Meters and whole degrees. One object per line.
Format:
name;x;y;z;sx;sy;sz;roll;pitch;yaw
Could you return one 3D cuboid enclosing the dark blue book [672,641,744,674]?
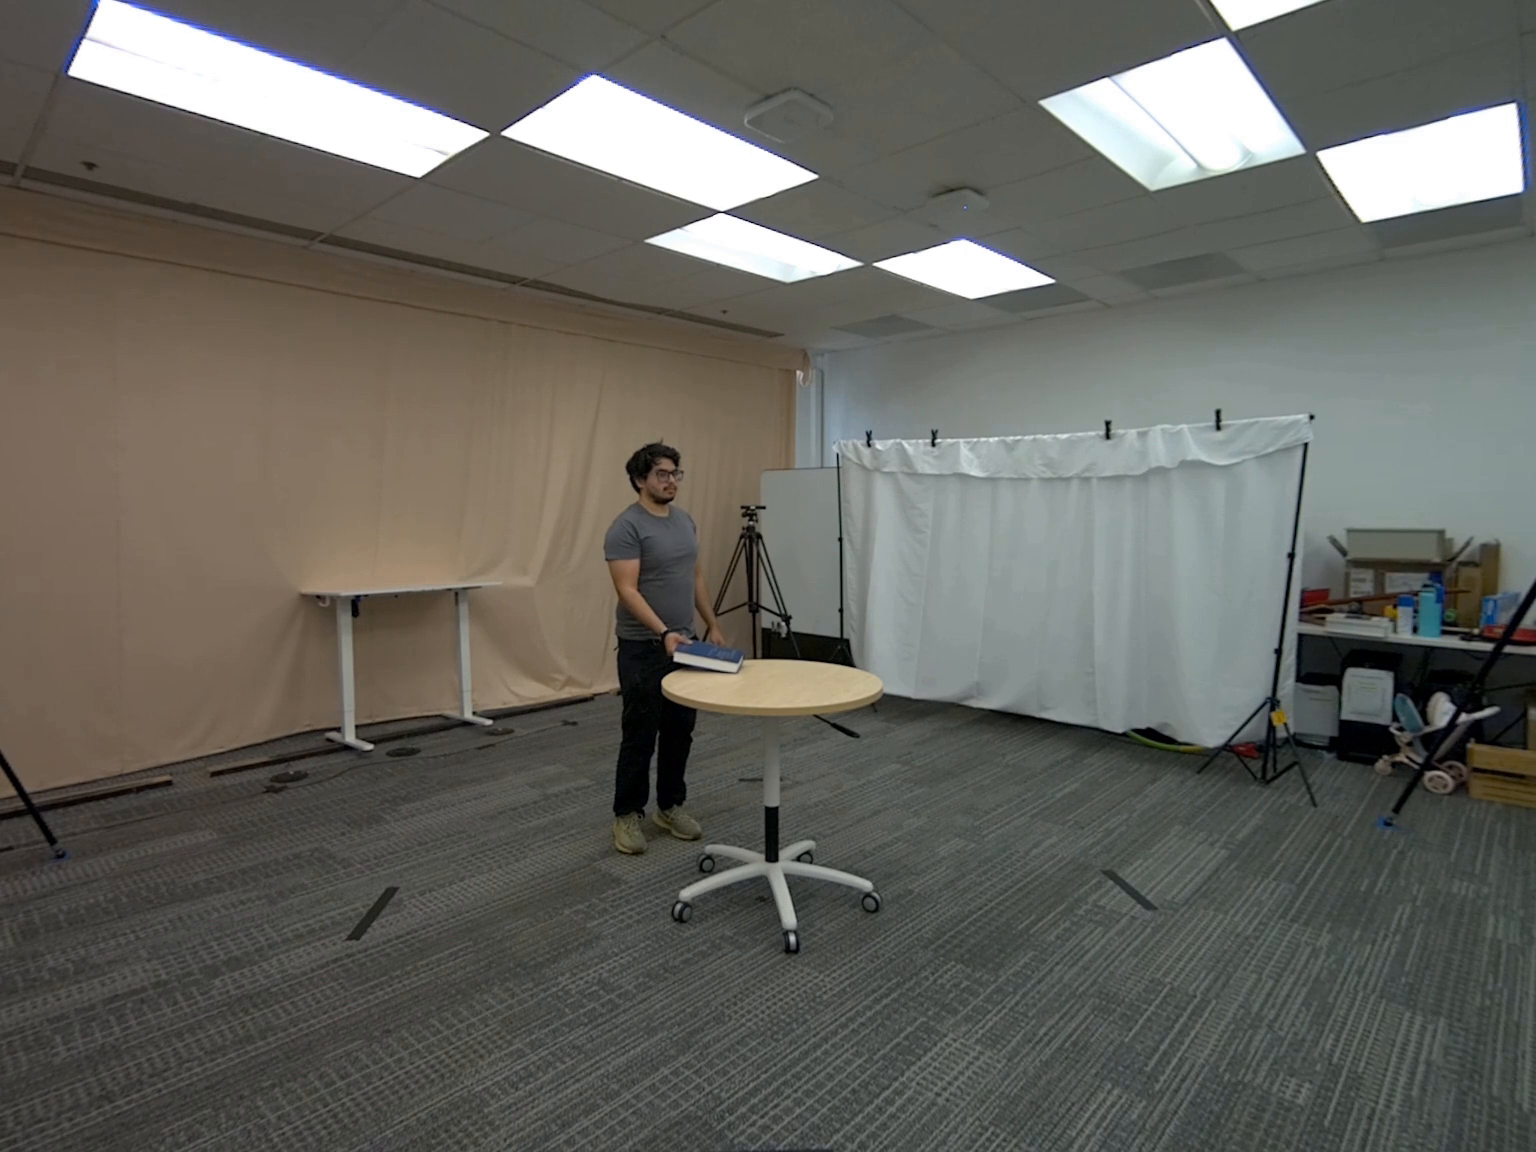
dark blue book;-0.210;0.303;3.136;0.247;0.045;0.163;8;10;5
